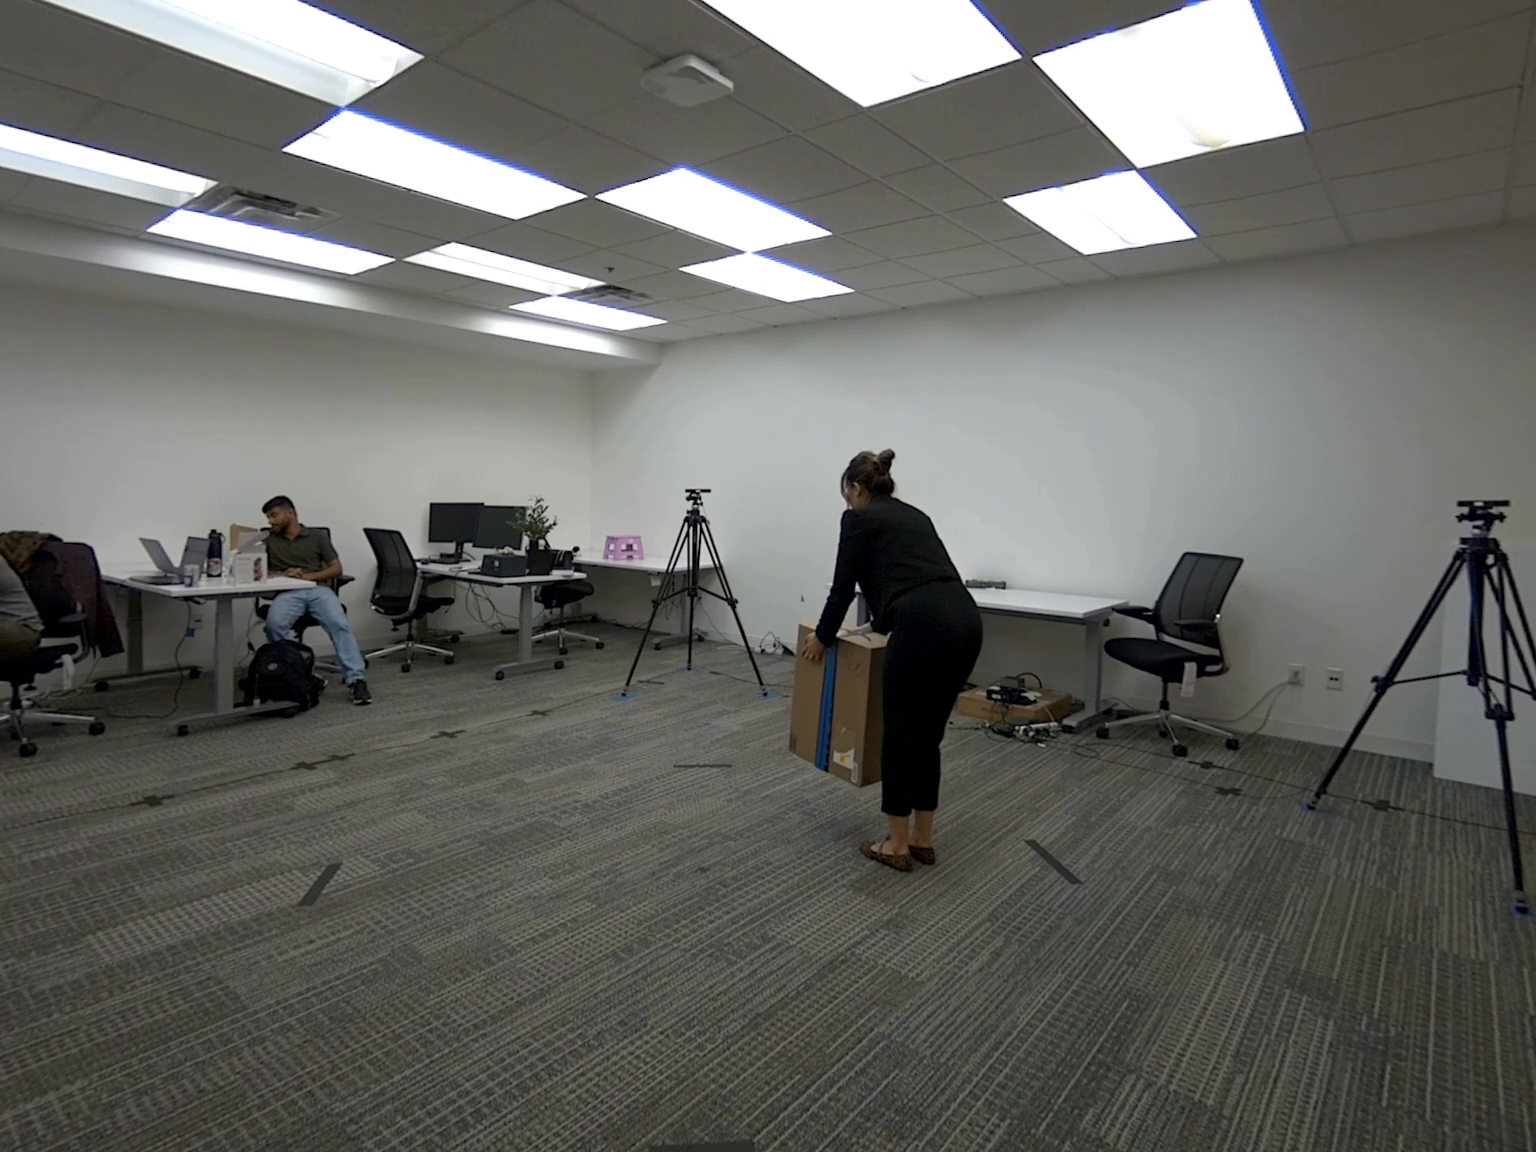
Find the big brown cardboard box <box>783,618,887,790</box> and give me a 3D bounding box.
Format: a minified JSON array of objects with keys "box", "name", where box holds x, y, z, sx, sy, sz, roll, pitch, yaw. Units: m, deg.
[{"box":[0.309,0.511,3.526,0.226,0.585,0.433,-1,9,-39],"name":"big brown cardboard box"}]
